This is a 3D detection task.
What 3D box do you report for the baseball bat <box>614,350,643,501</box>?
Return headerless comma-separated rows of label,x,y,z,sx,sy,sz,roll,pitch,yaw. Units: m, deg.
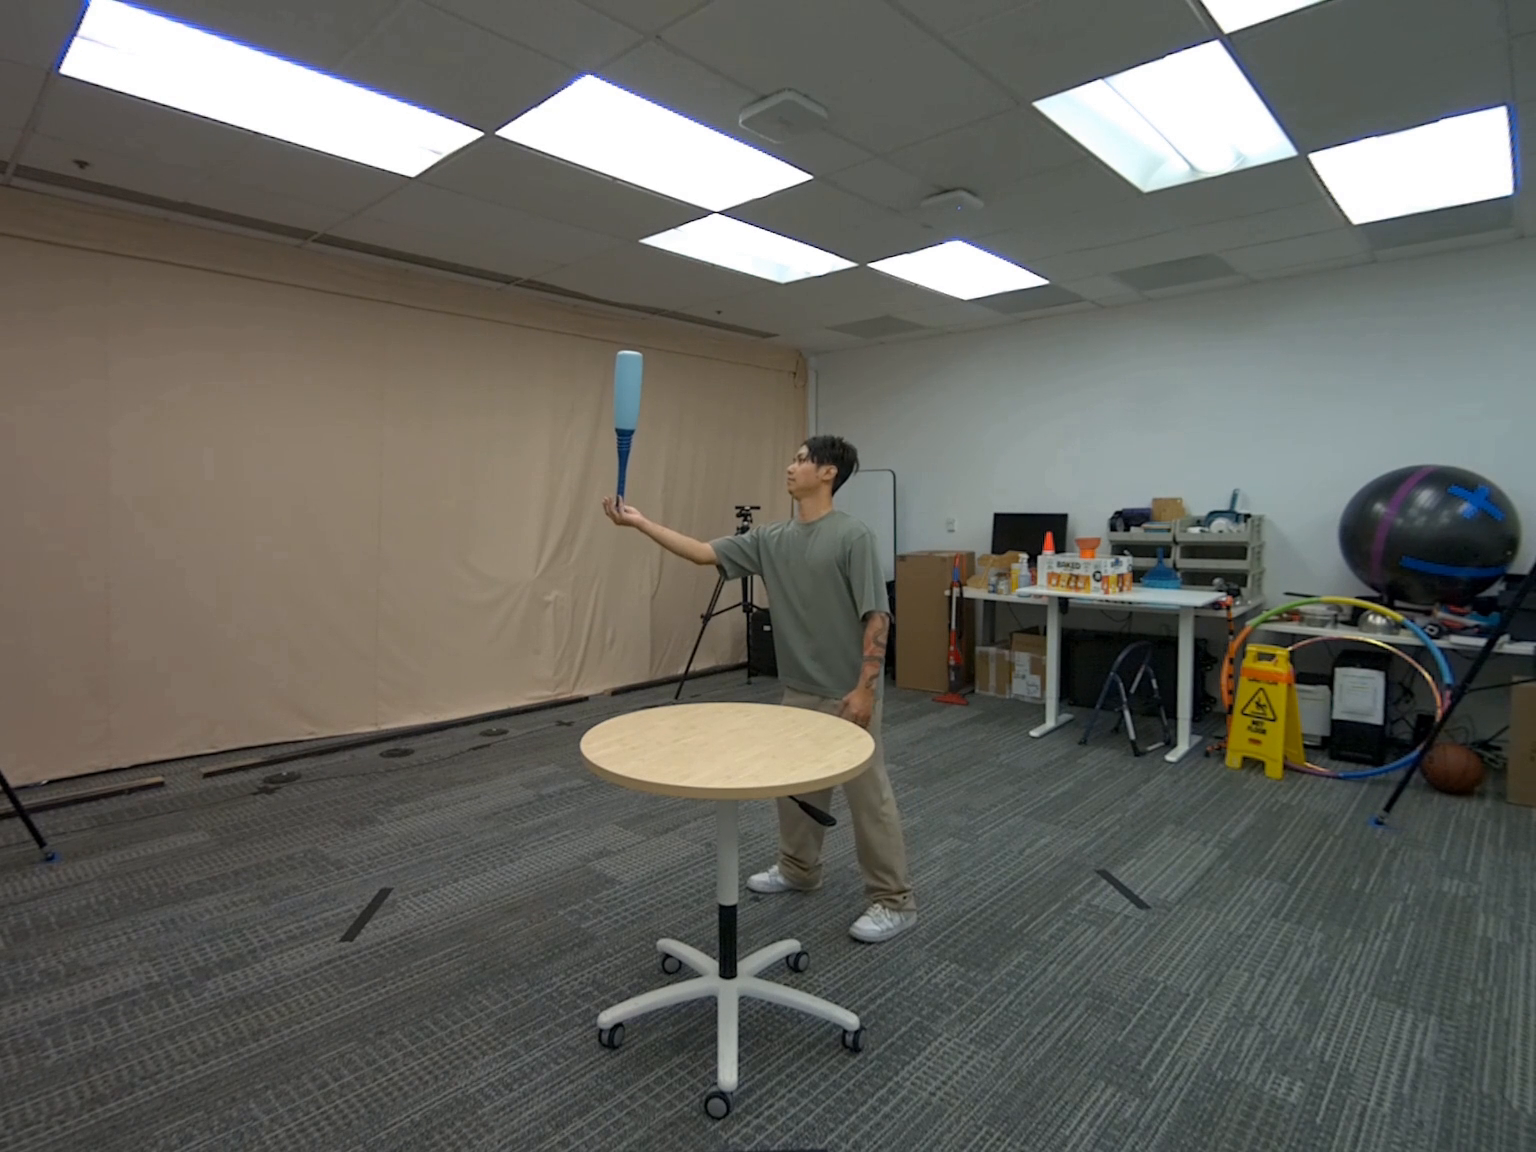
baseball bat,-0.471,-0.474,2.792,0.089,0.539,0.090,5,12,-3
